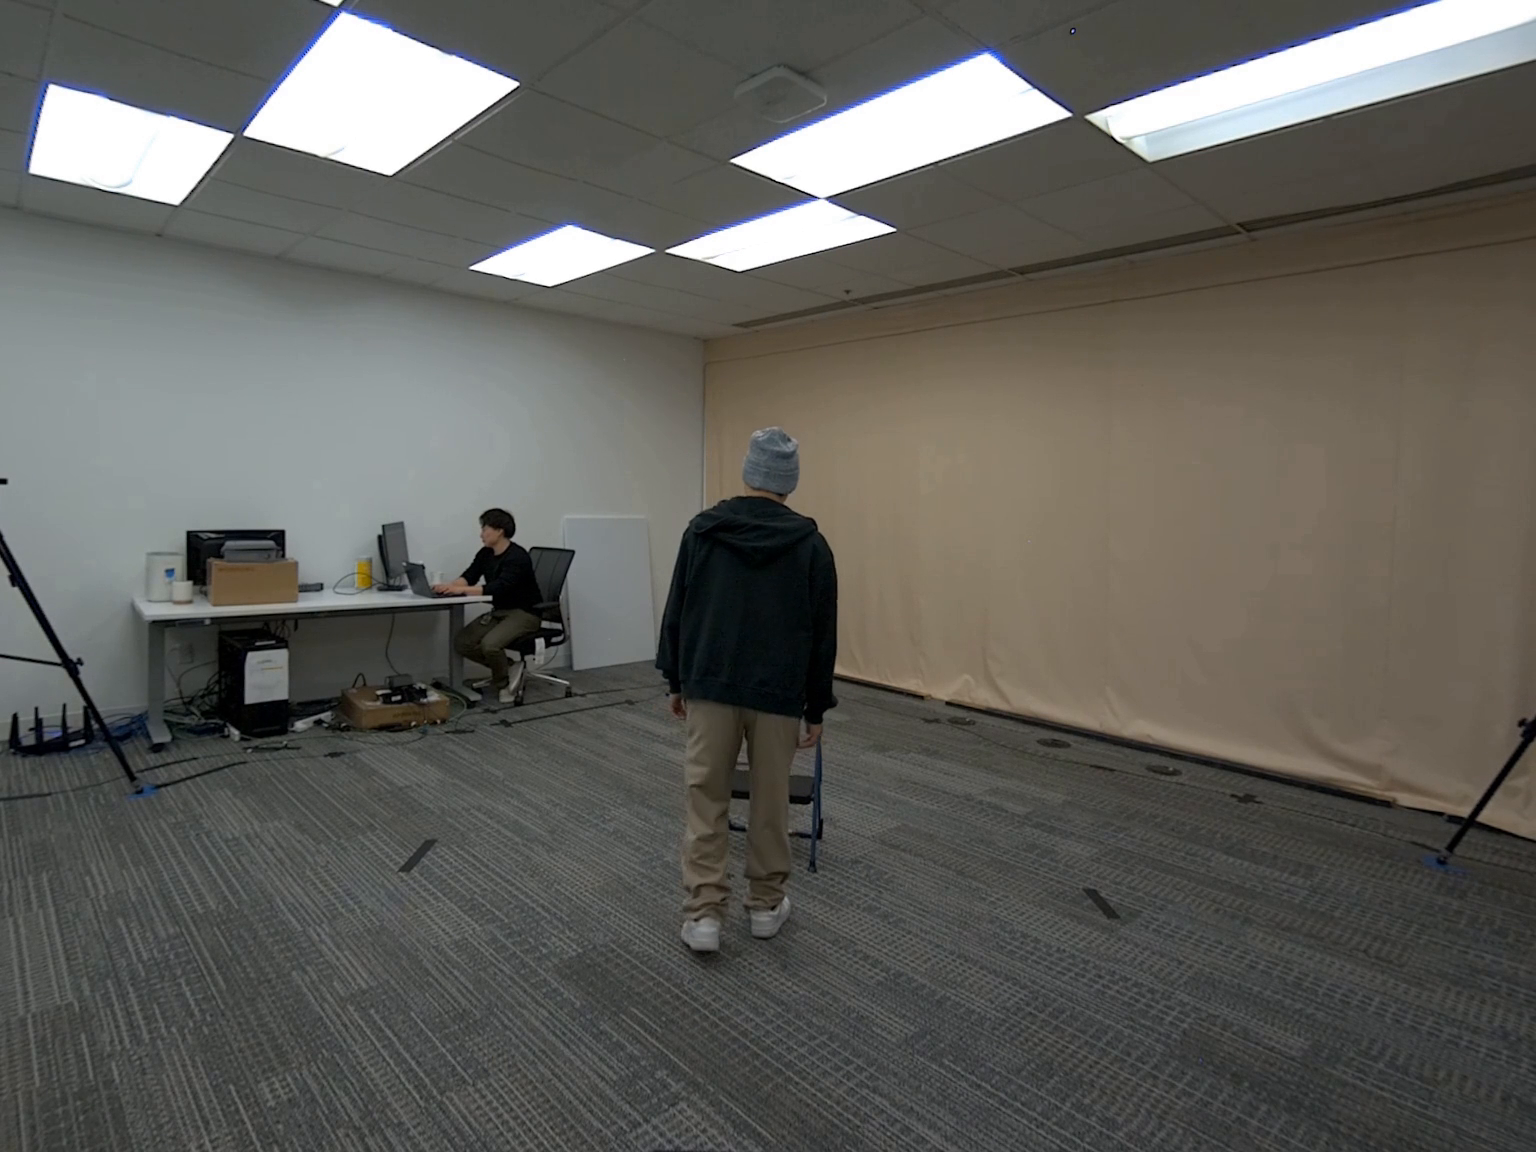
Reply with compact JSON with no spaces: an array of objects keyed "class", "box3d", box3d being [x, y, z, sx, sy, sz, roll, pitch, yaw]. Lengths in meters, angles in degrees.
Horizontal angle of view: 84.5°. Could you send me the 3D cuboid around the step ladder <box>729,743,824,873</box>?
[{"class":"step ladder","box3d":[0.003,0.789,3.350,0.434,0.604,0.347,2,3,10]}]
